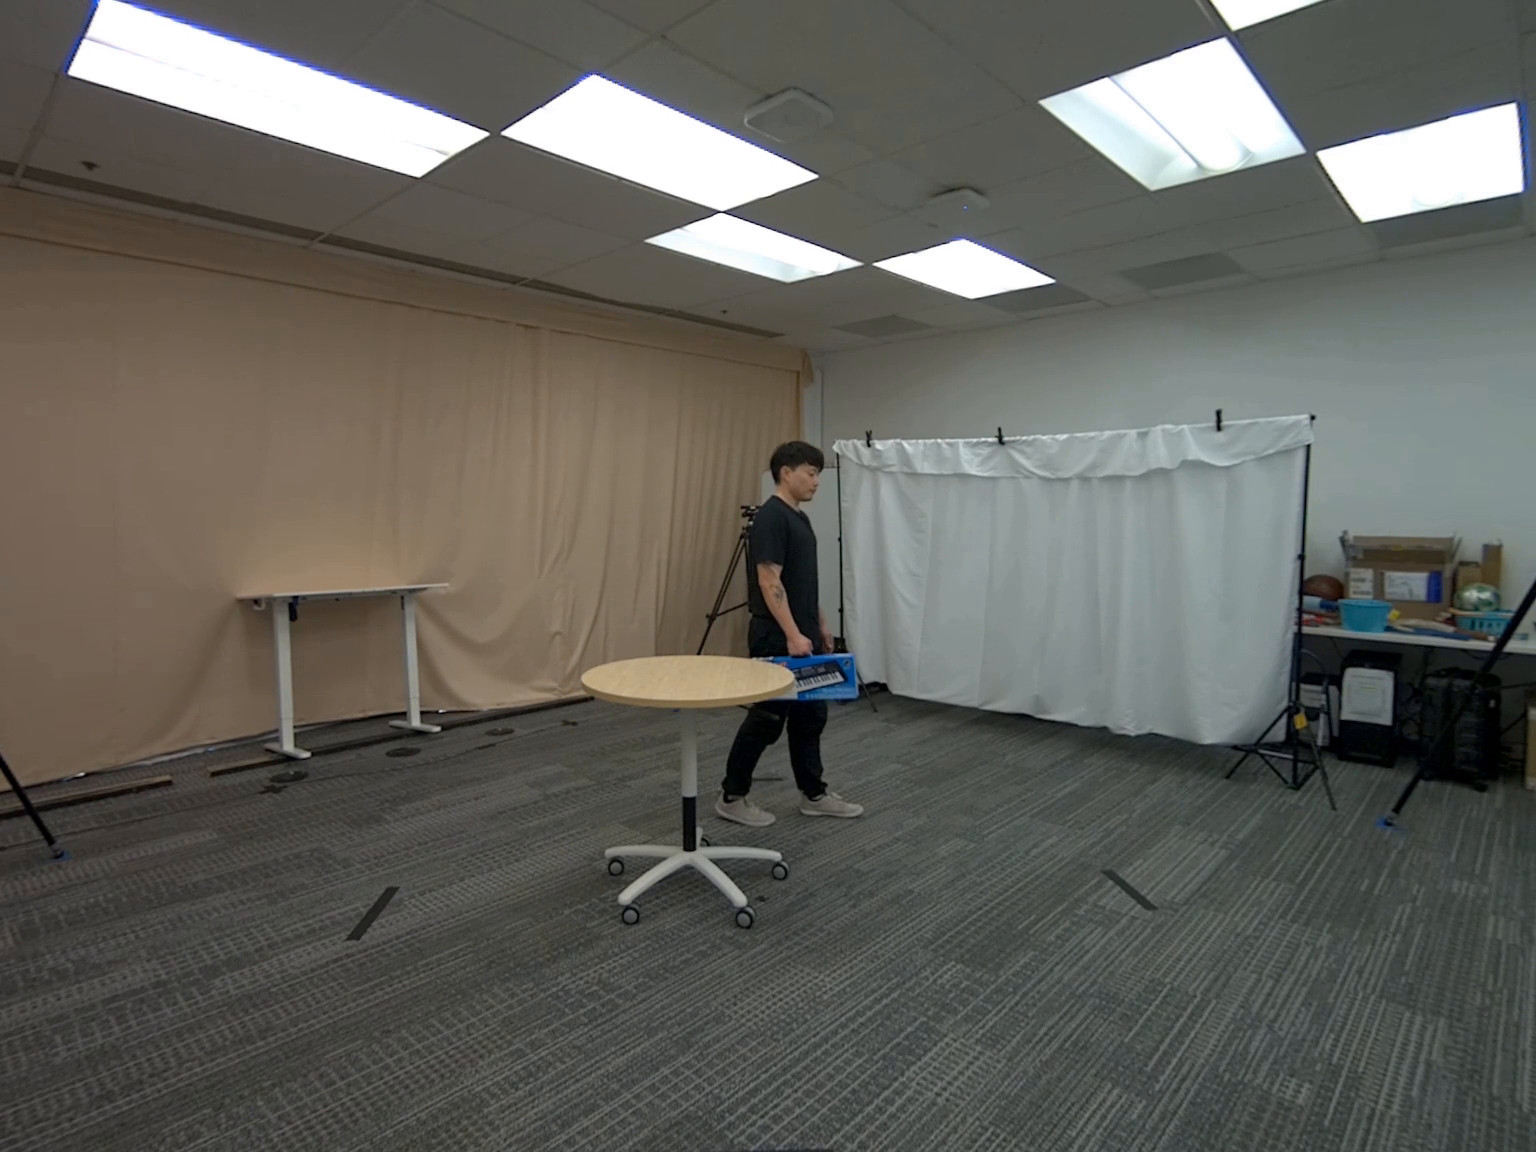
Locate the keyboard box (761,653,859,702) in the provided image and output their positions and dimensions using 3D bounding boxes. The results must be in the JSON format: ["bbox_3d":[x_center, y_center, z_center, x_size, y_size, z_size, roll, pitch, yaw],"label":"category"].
[{"bbox_3d":[0.138,0.415,3.444,0.444,0.175,0.058,-4,5,16],"label":"keyboard box"}]
